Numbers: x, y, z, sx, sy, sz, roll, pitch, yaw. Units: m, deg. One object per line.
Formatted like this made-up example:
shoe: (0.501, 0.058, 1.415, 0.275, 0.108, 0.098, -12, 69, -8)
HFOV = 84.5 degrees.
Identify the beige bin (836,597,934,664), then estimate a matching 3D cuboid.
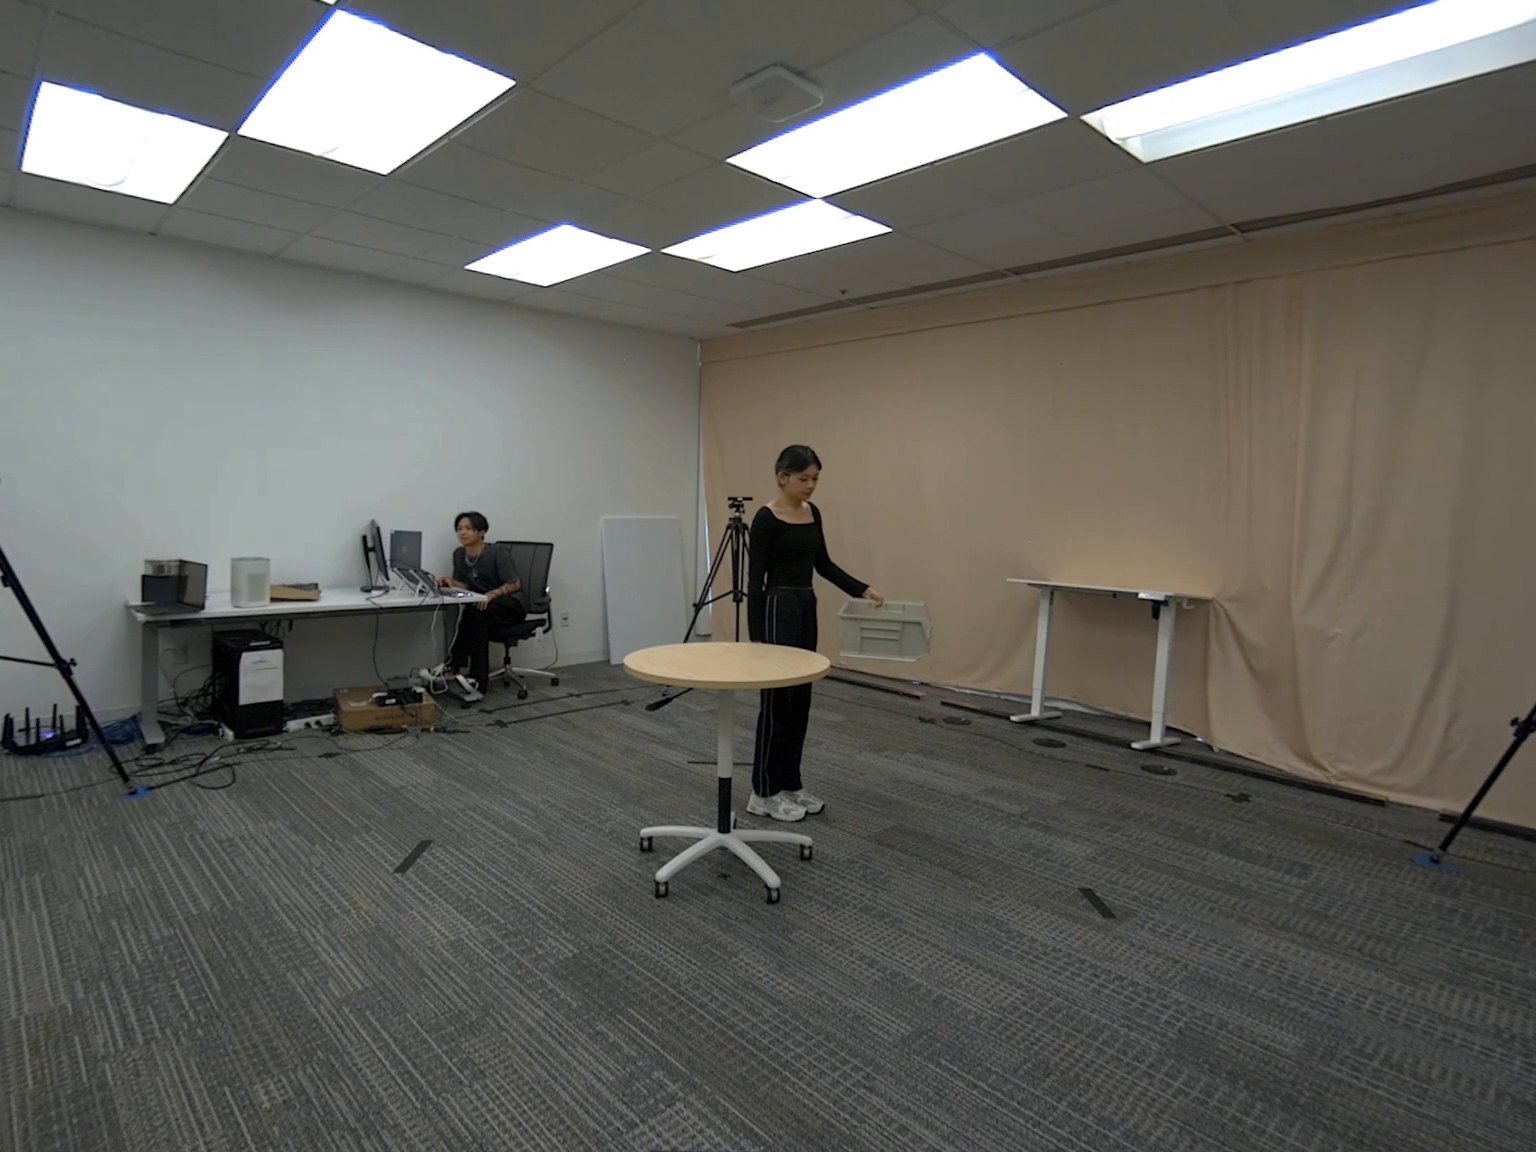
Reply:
beige bin: (0.510, 0.223, 3.643, 0.382, 0.188, 0.419, 1, 8, 14)
